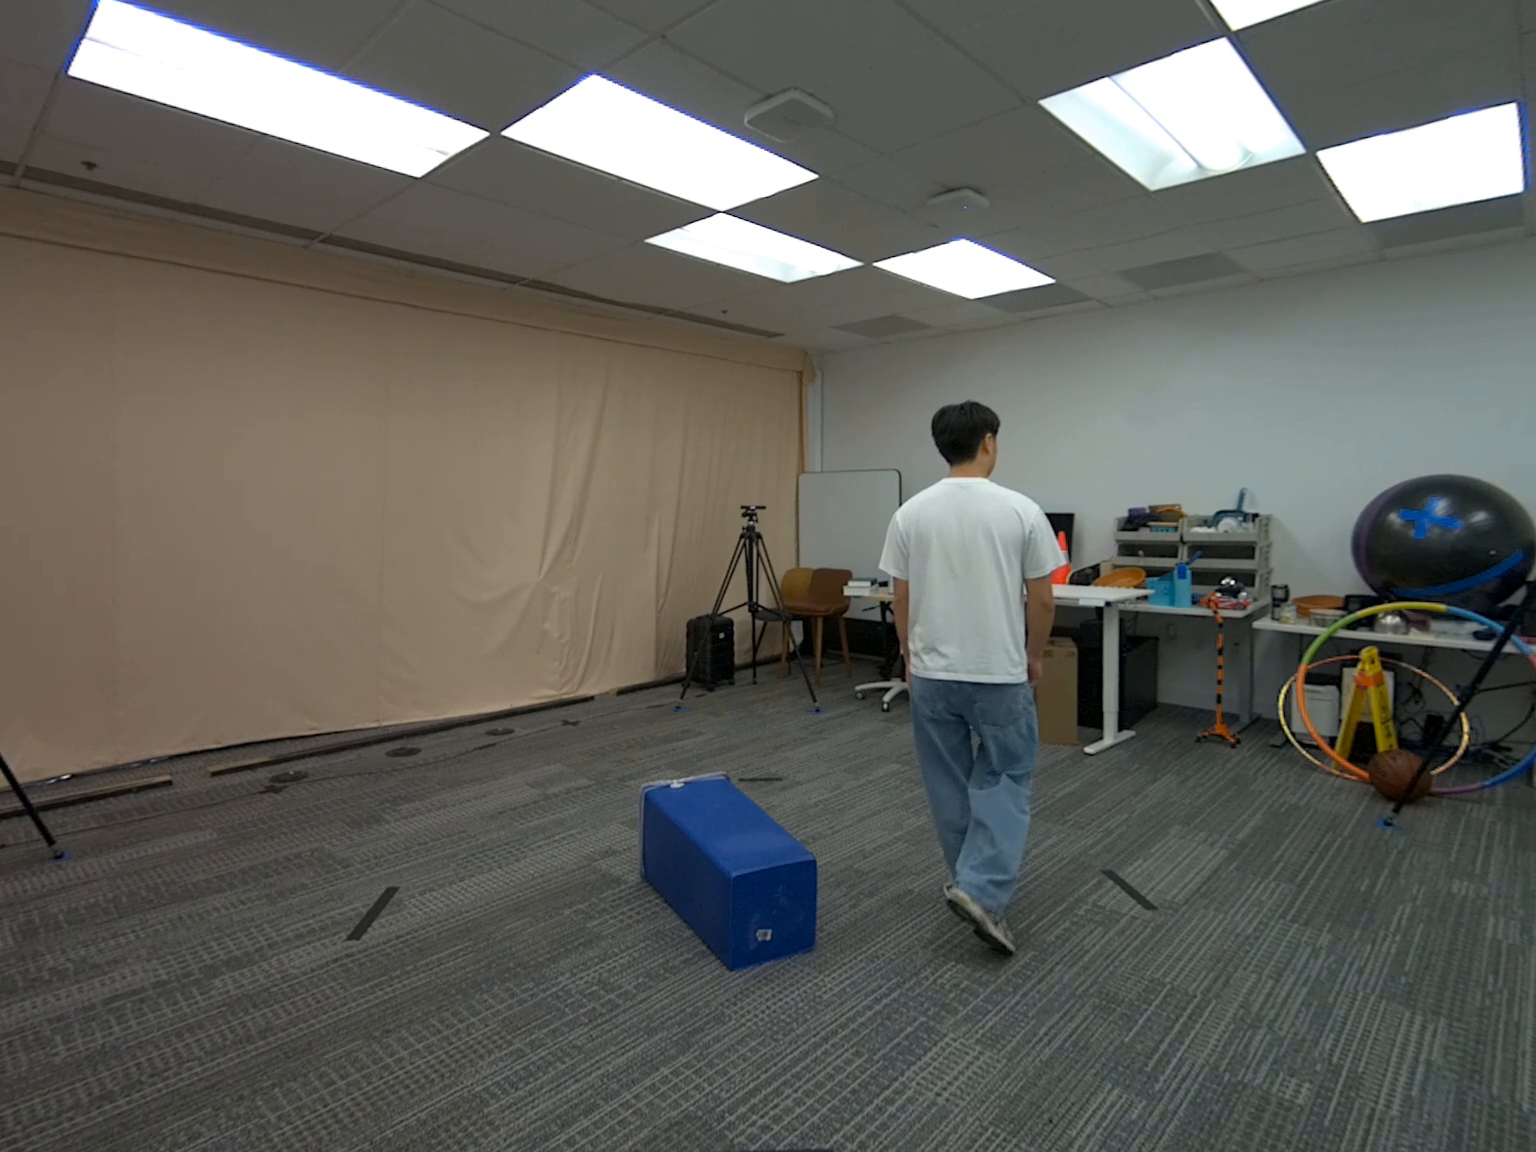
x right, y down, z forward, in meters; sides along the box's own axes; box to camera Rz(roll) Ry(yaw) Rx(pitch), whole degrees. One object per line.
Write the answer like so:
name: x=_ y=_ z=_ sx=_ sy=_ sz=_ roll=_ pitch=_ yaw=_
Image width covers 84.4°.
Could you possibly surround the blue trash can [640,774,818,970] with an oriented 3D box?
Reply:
blue trash can: x=-0.139 y=0.990 z=2.881 sx=0.364 sy=0.377 sz=0.735 roll=-2 pitch=7 yaw=-28
